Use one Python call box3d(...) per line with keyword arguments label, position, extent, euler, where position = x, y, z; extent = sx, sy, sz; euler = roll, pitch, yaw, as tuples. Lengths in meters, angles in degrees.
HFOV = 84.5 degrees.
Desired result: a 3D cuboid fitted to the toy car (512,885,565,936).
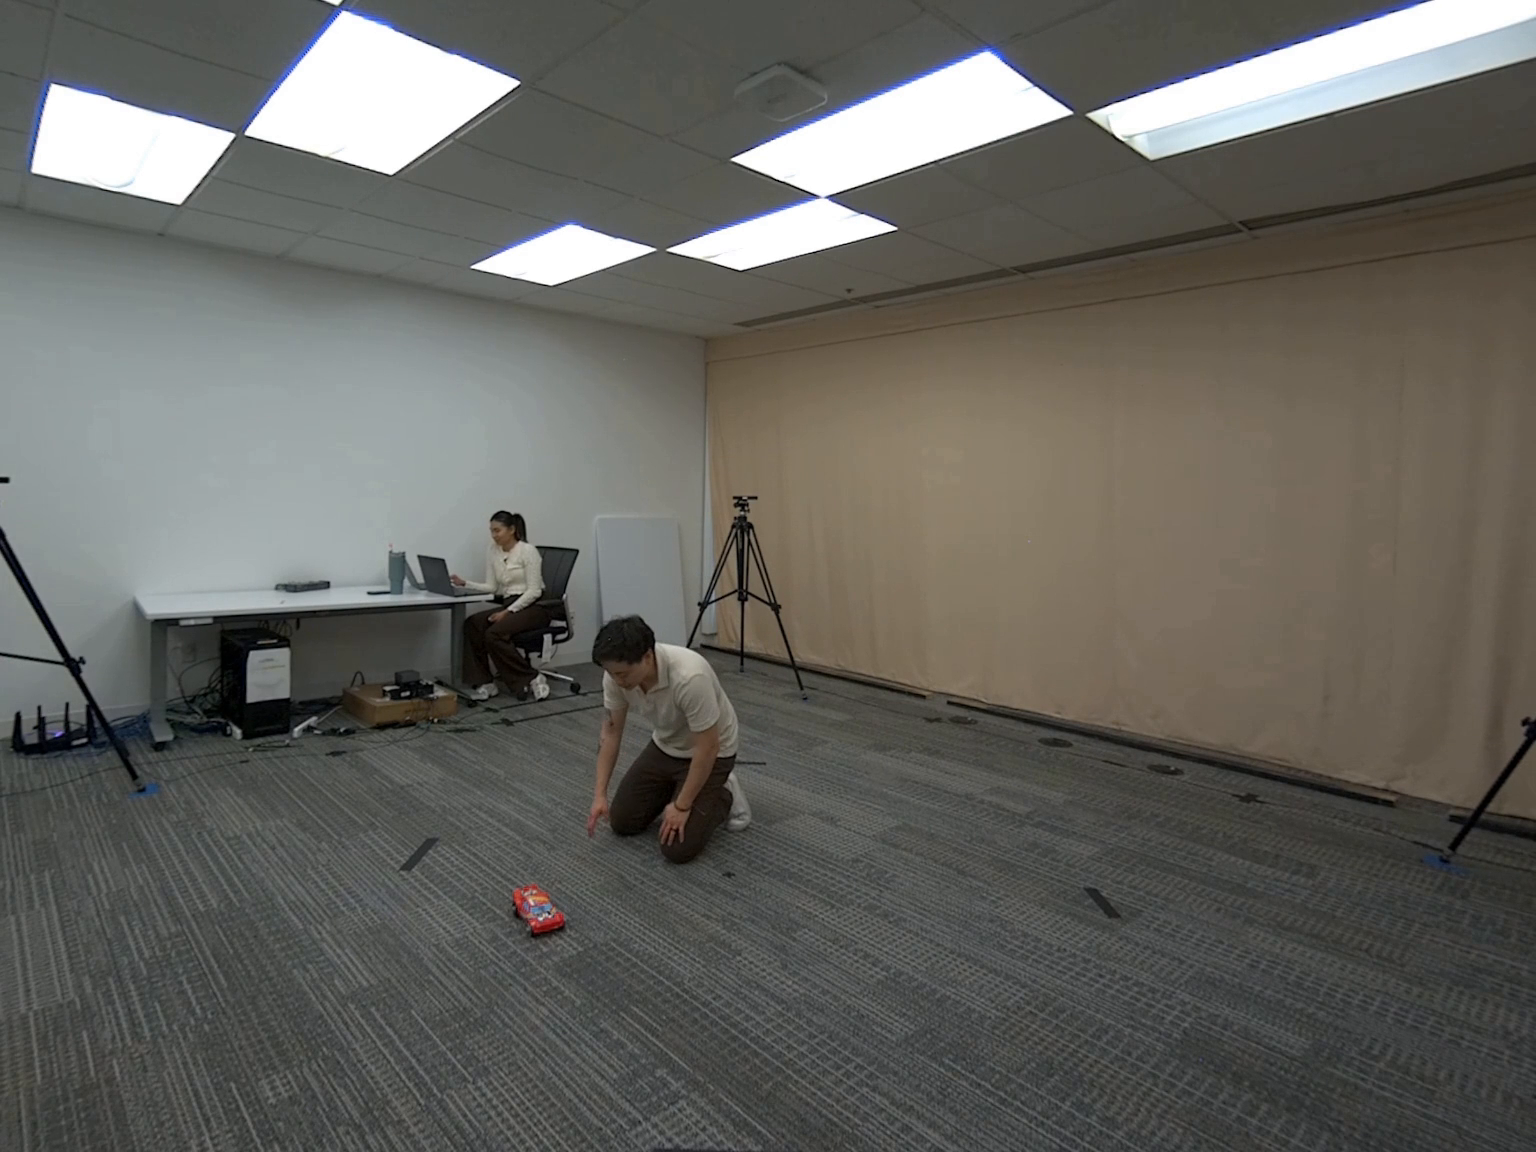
box3d(label="toy car", position=(-0.771, 1.092, 2.743), extent=(0.128, 0.082, 0.262), euler=(-3, 18, -32))
